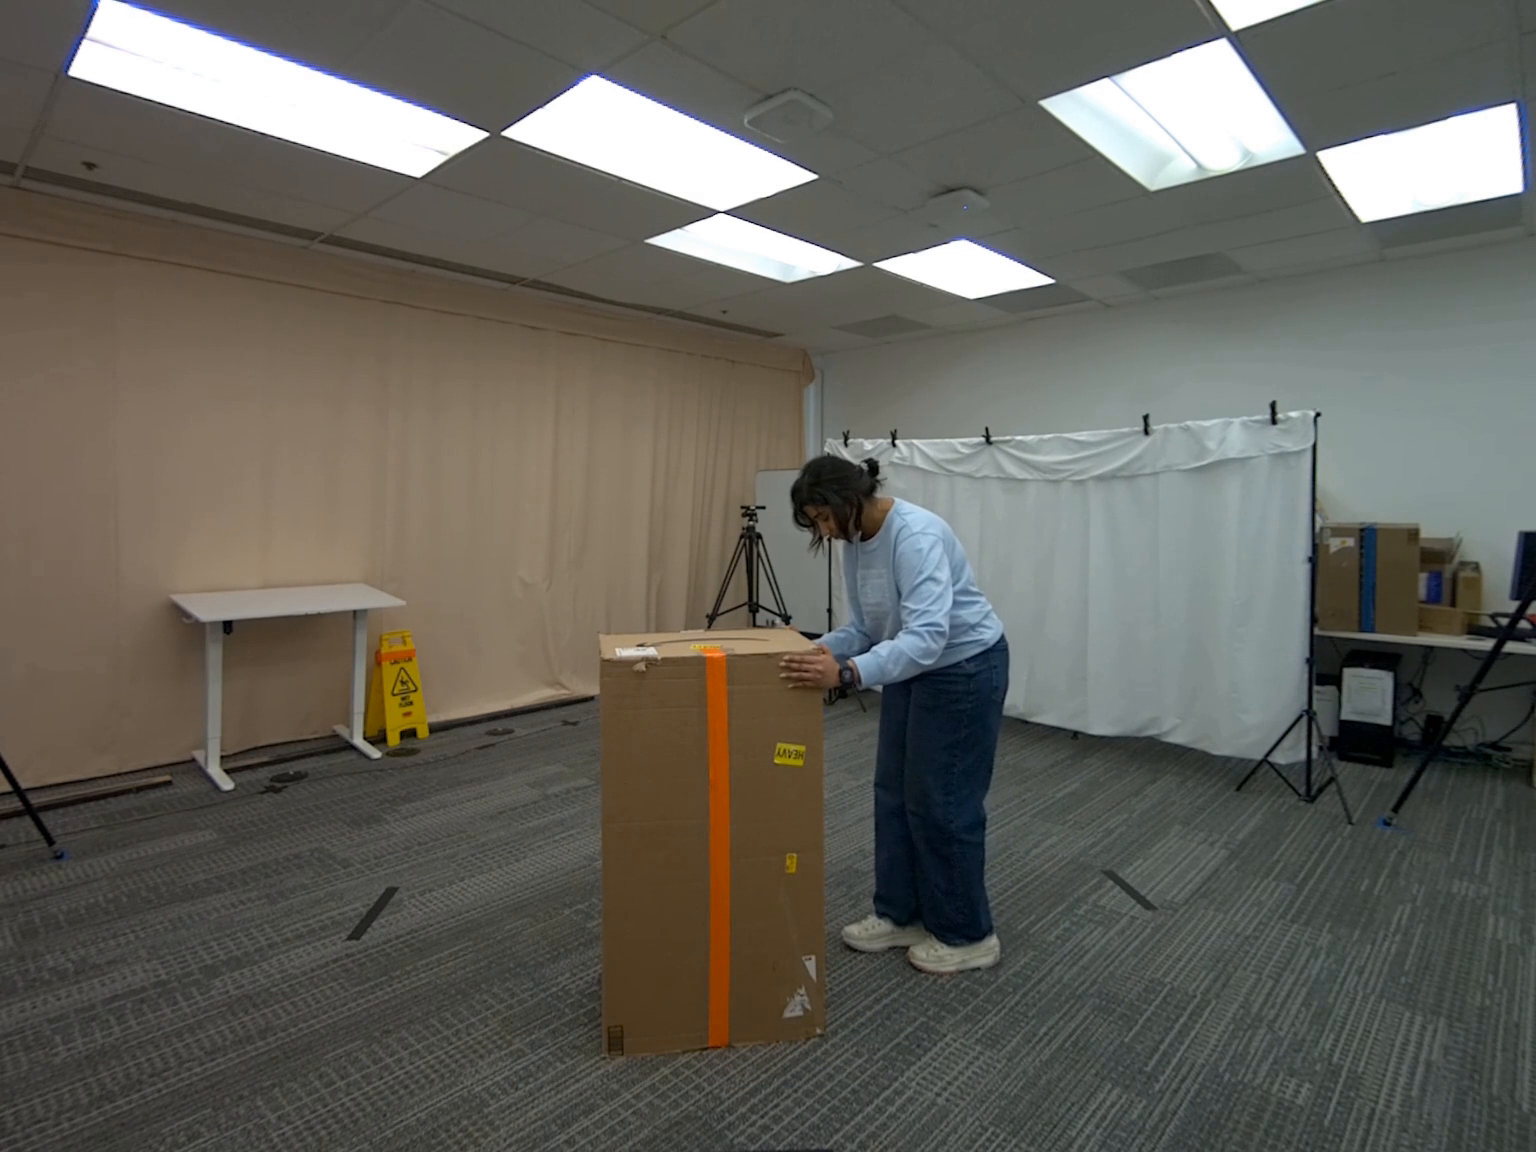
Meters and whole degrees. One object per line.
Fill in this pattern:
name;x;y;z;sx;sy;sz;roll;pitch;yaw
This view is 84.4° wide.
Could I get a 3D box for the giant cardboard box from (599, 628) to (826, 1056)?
giant cardboard box;-0.174;0.694;2.347;0.571;1.024;0.431;-1;3;-10
